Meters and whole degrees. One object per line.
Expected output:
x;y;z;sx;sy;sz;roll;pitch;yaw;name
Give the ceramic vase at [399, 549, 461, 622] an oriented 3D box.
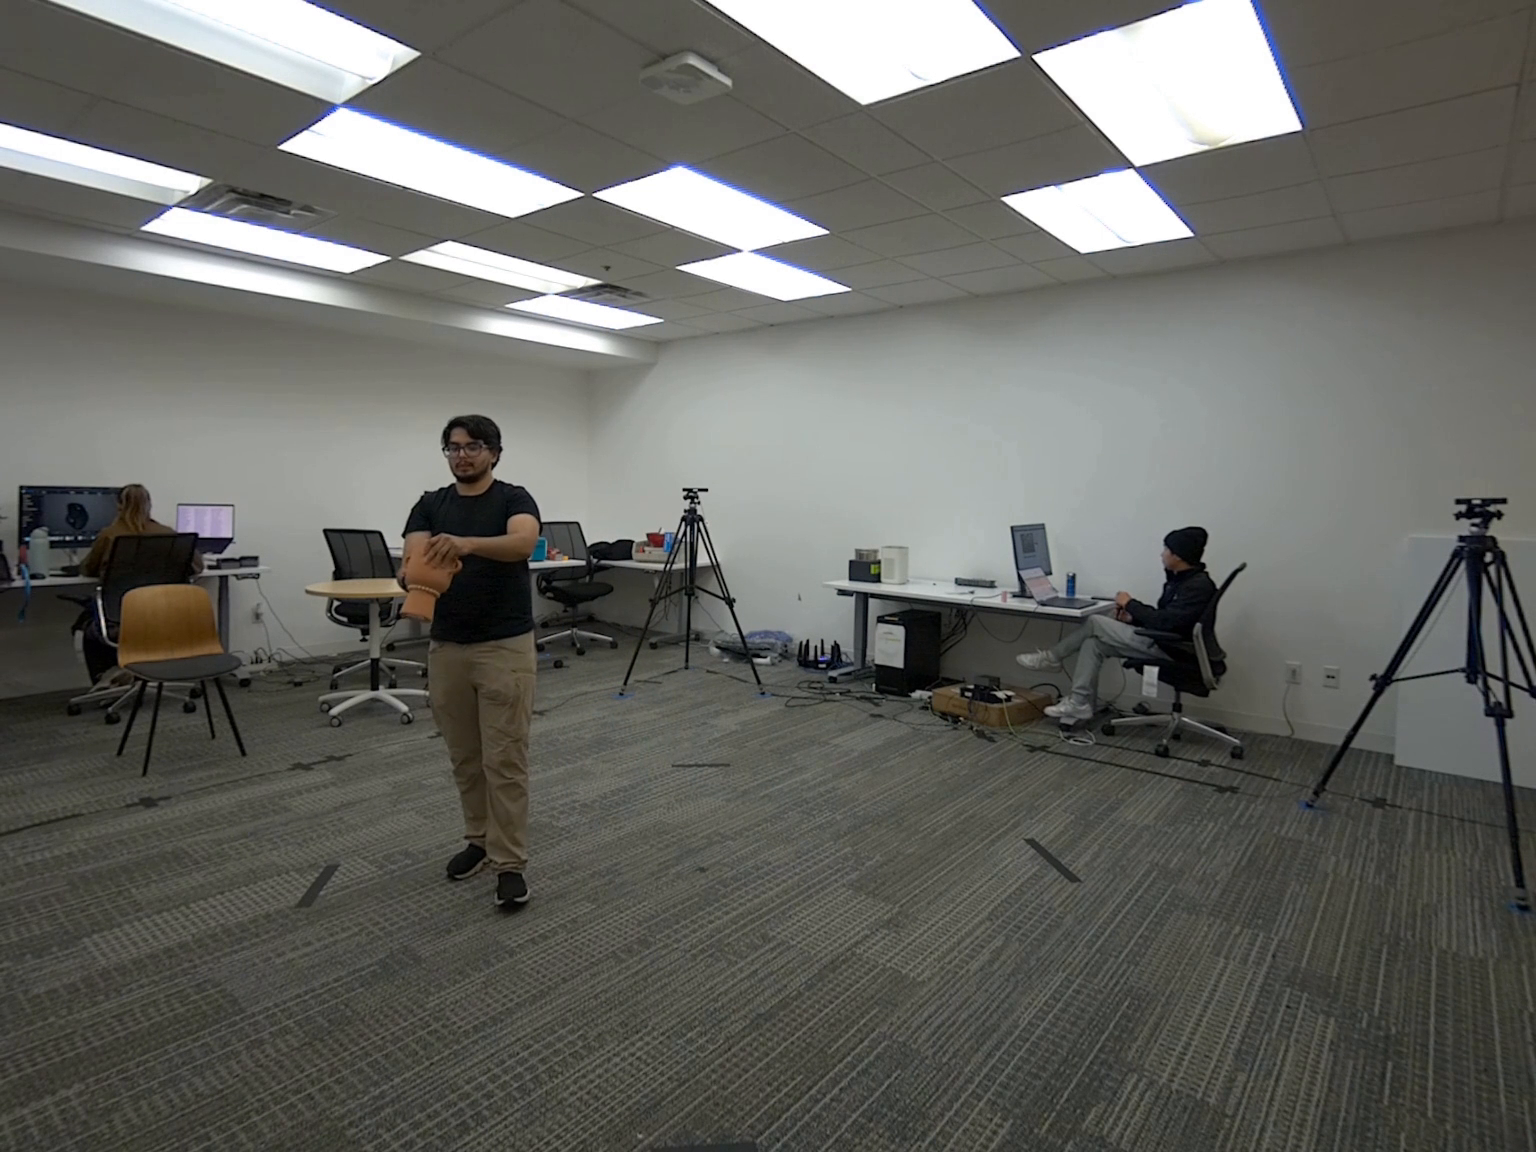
-1.048;0.016;2.572;0.130;0.223;0.162;22;-24;-34;ceramic vase
